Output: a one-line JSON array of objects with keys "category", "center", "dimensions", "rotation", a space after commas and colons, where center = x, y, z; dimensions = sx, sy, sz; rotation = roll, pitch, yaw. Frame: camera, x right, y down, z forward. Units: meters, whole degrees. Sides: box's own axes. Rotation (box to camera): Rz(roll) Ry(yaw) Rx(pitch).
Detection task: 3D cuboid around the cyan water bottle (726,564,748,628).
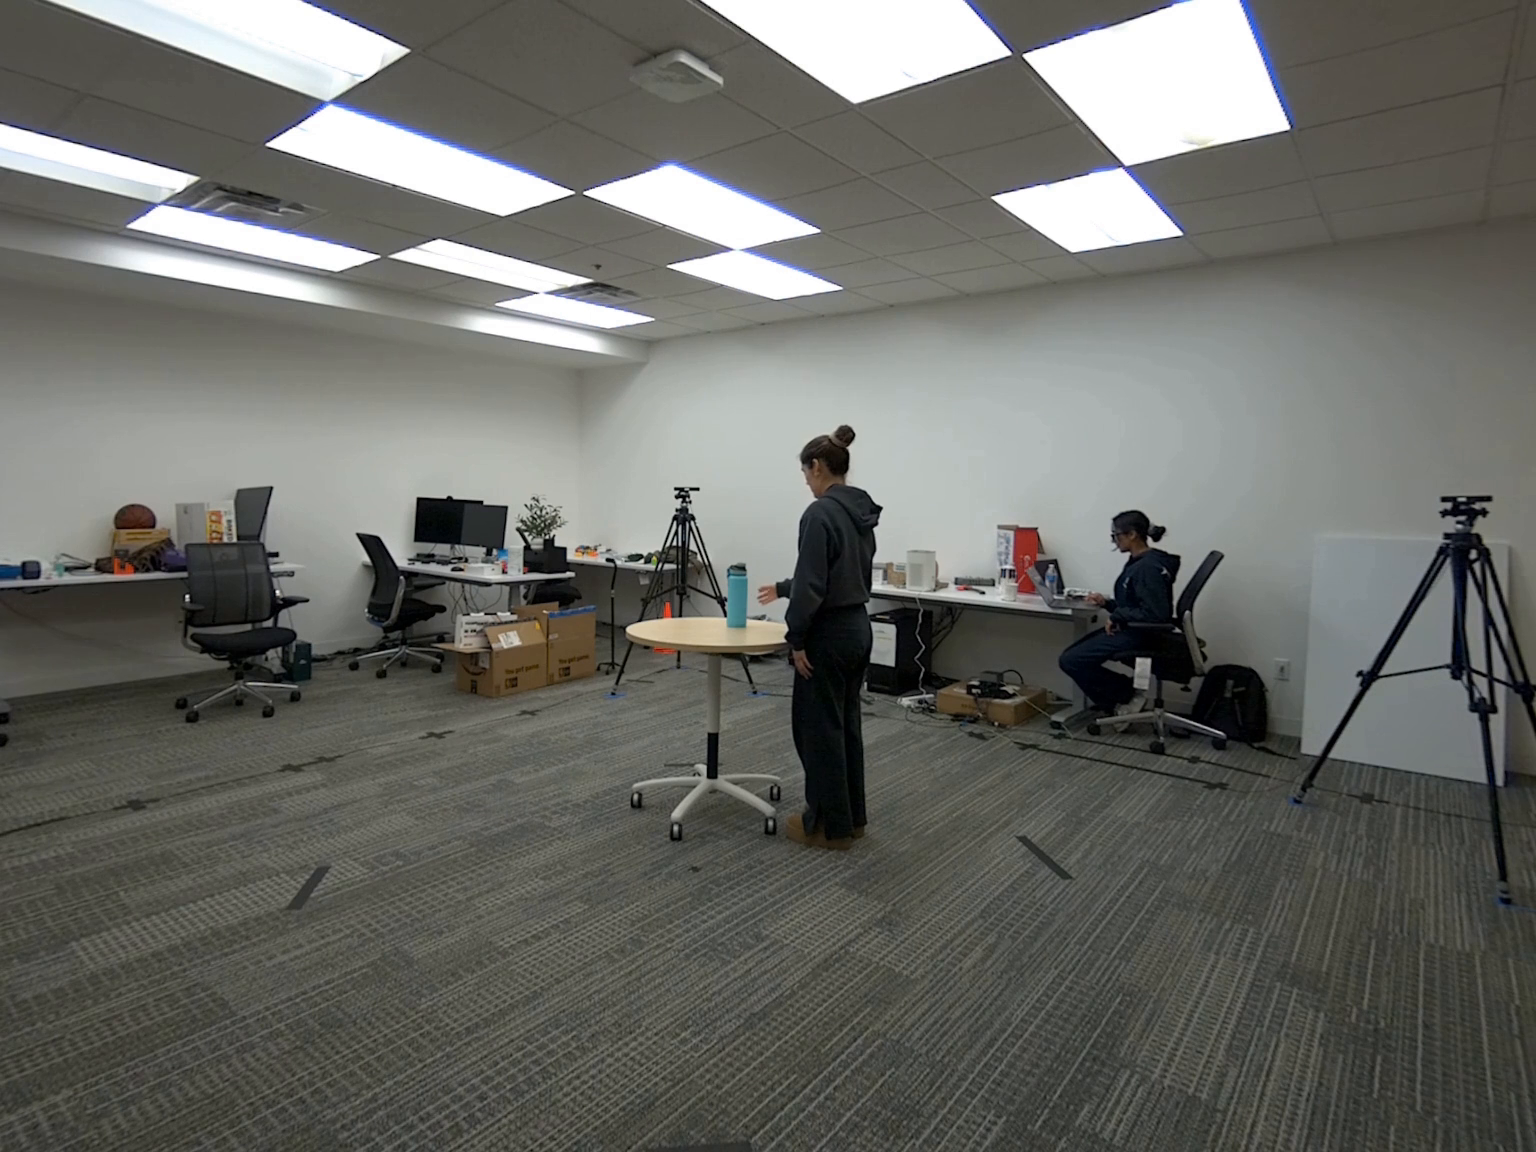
[{"category": "cyan water bottle", "center": [-0.143, 0.079, 3.784], "dimensions": [0.092, 0.282, 0.093], "rotation": [0, 4, -2]}]
